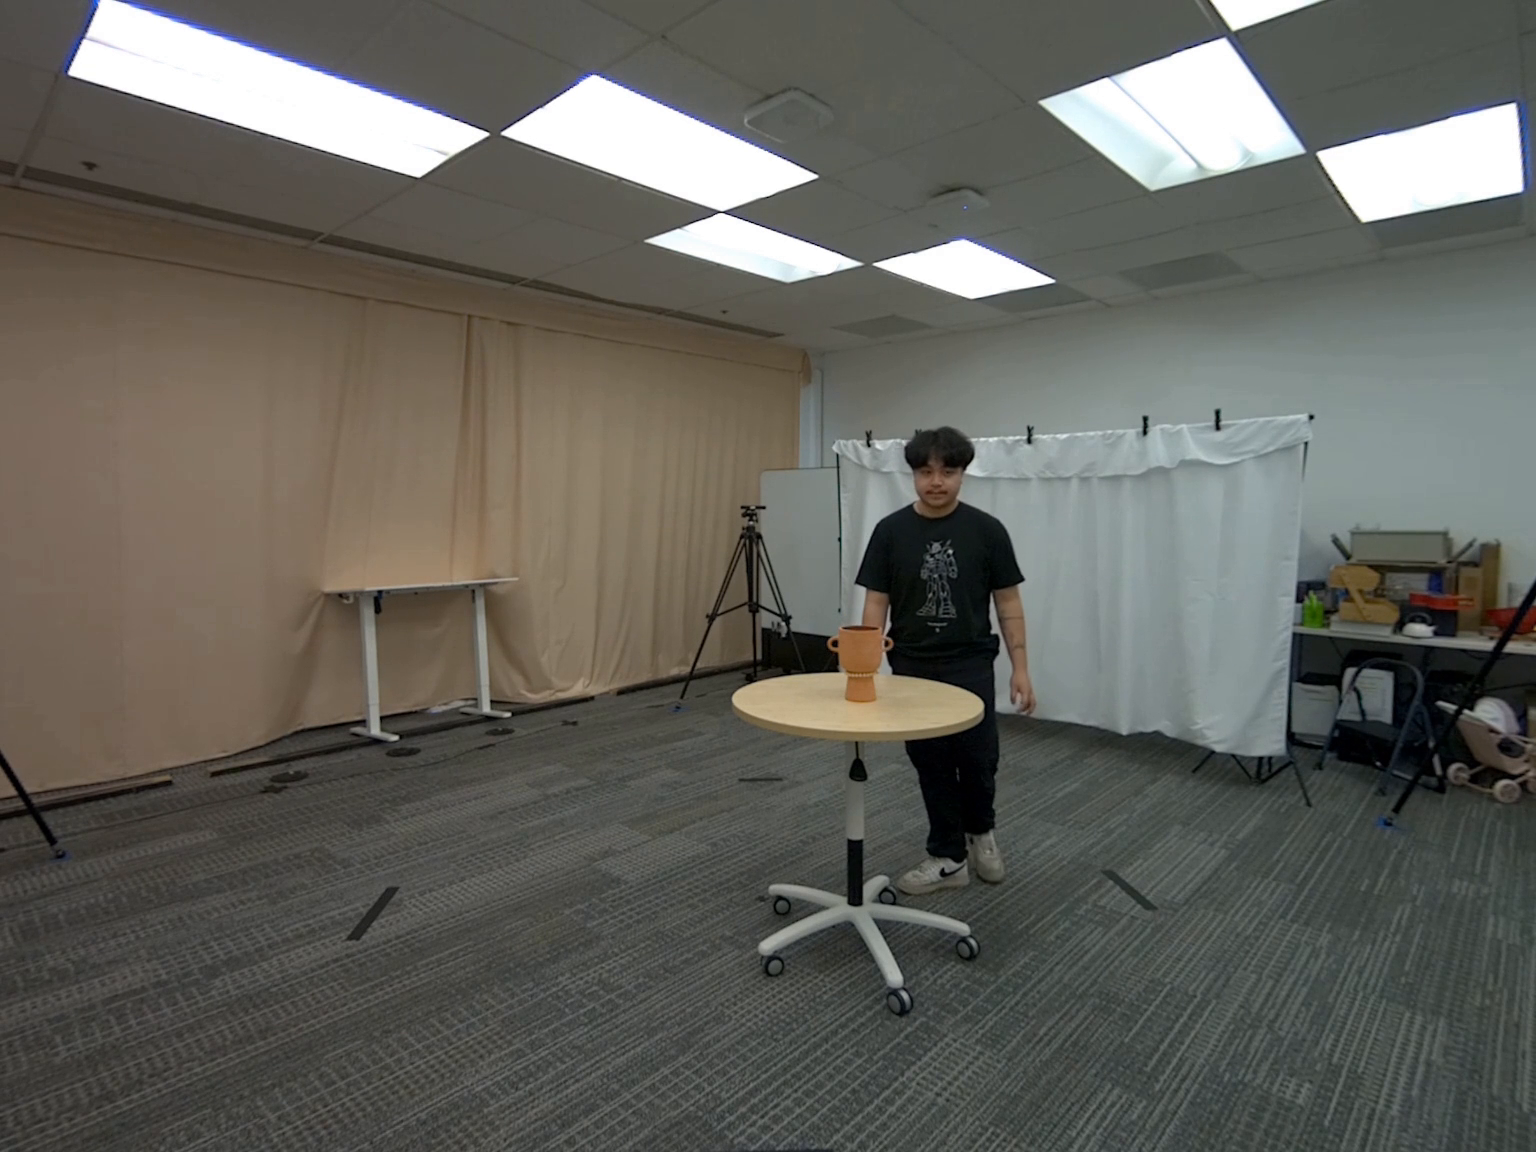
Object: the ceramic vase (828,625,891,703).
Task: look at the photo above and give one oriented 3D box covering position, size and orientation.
[{"bbox_3d":[0.293,0.273,2.598,0.164,0.219,0.130,2,4,43],"label":"ceramic vase"}]
